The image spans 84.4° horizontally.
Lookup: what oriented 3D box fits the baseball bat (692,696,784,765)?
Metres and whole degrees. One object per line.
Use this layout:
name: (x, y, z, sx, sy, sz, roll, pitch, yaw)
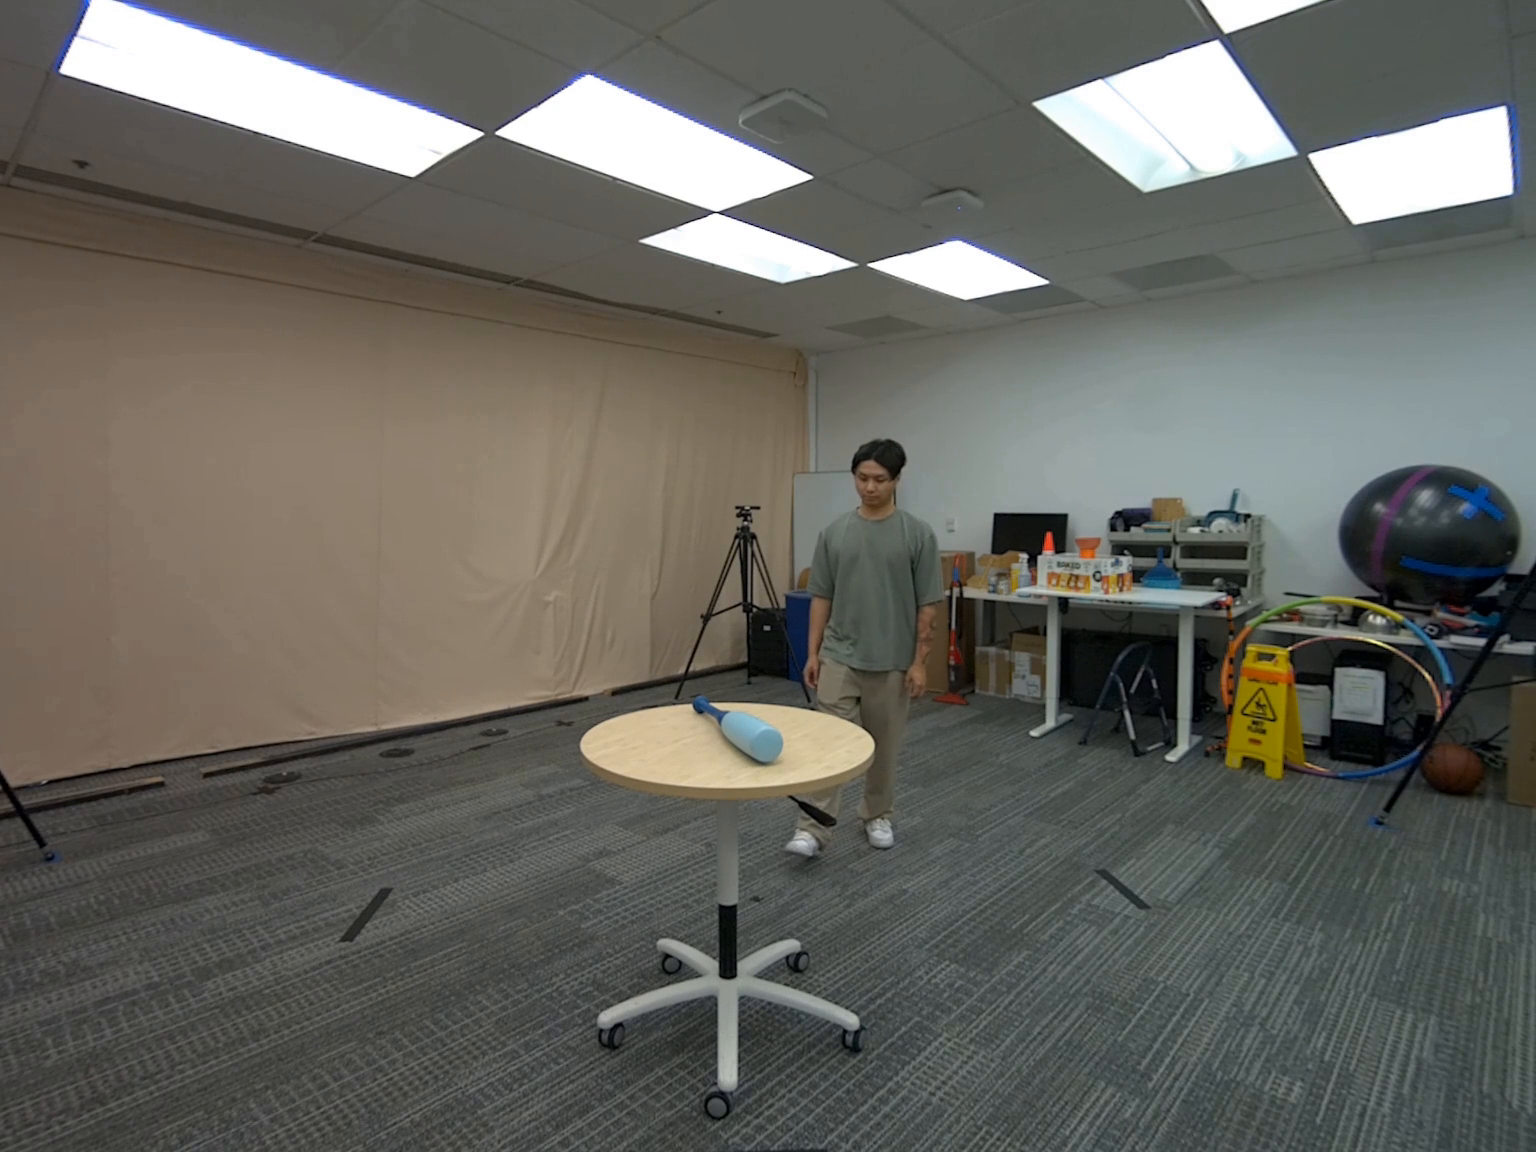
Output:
baseball bat: (-0.095, 0.391, 2.223, 0.087, 0.089, 0.555, -1, 3, -22)
